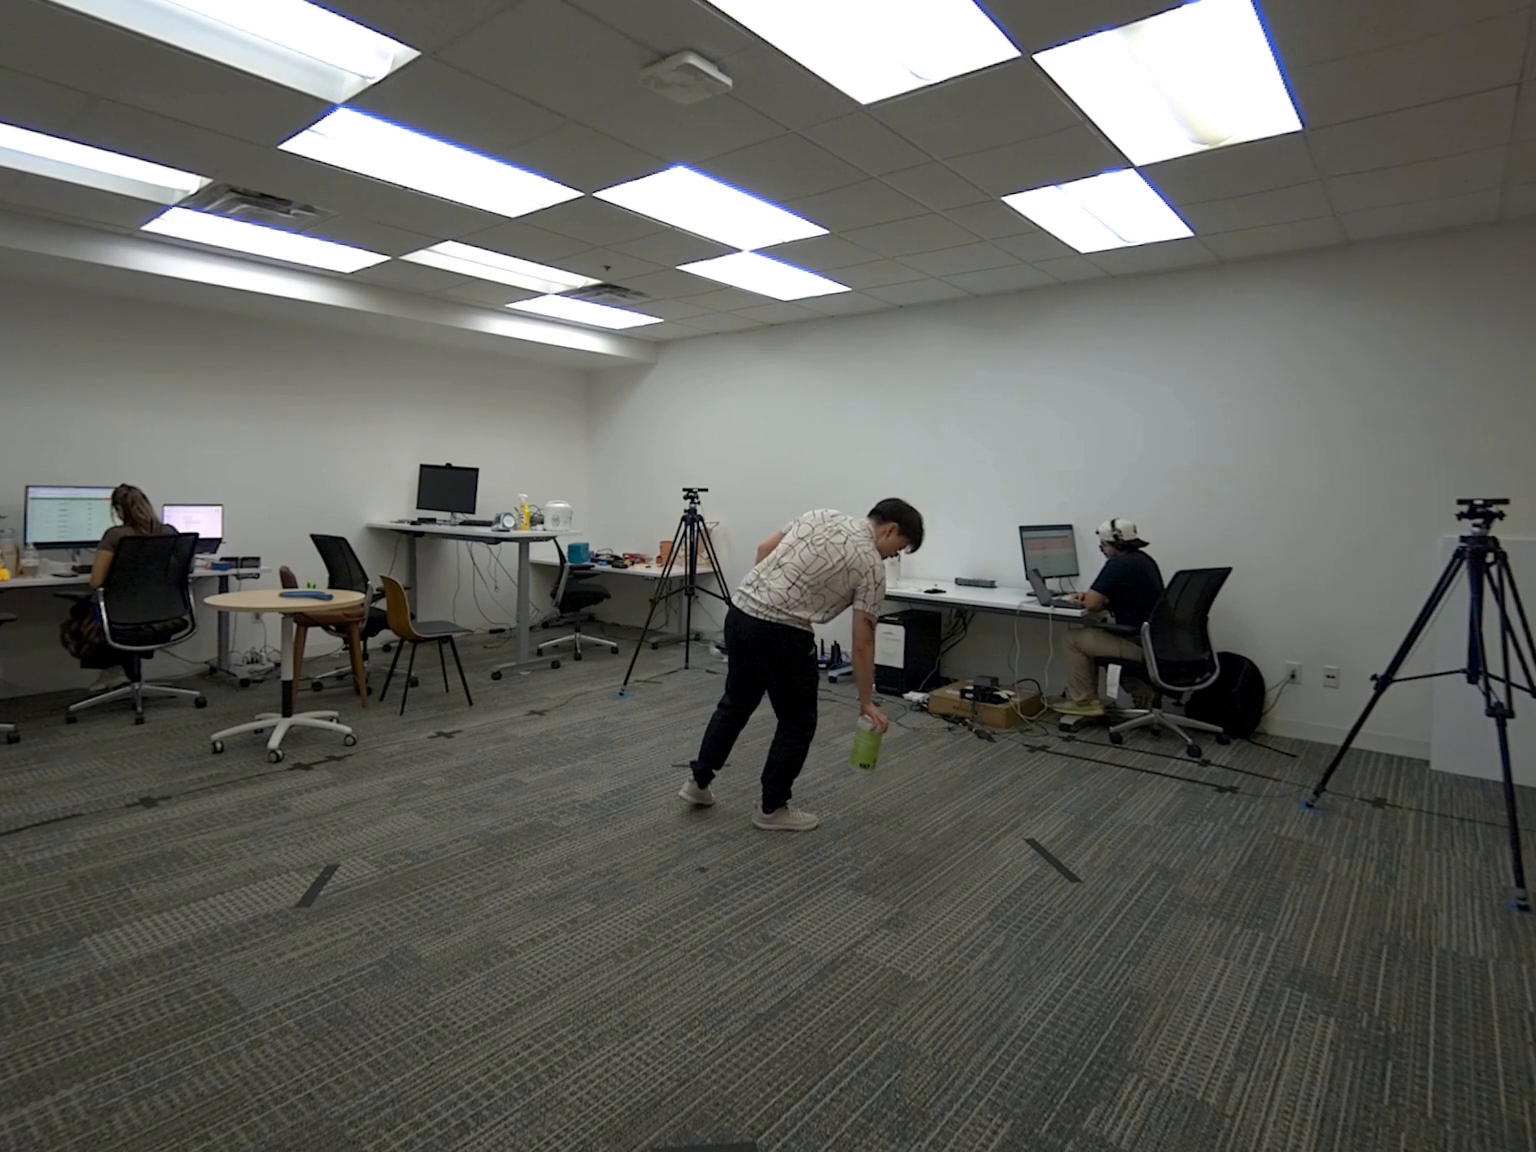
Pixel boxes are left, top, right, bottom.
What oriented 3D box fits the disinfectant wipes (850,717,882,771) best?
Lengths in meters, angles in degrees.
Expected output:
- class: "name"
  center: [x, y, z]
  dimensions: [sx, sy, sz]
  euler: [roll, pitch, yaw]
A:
- class: "disinfectant wipes"
  center: [0.392, 0.691, 3.479]
  dimensions: [0.117, 0.215, 0.119]
  euler: [8, 12, -4]
